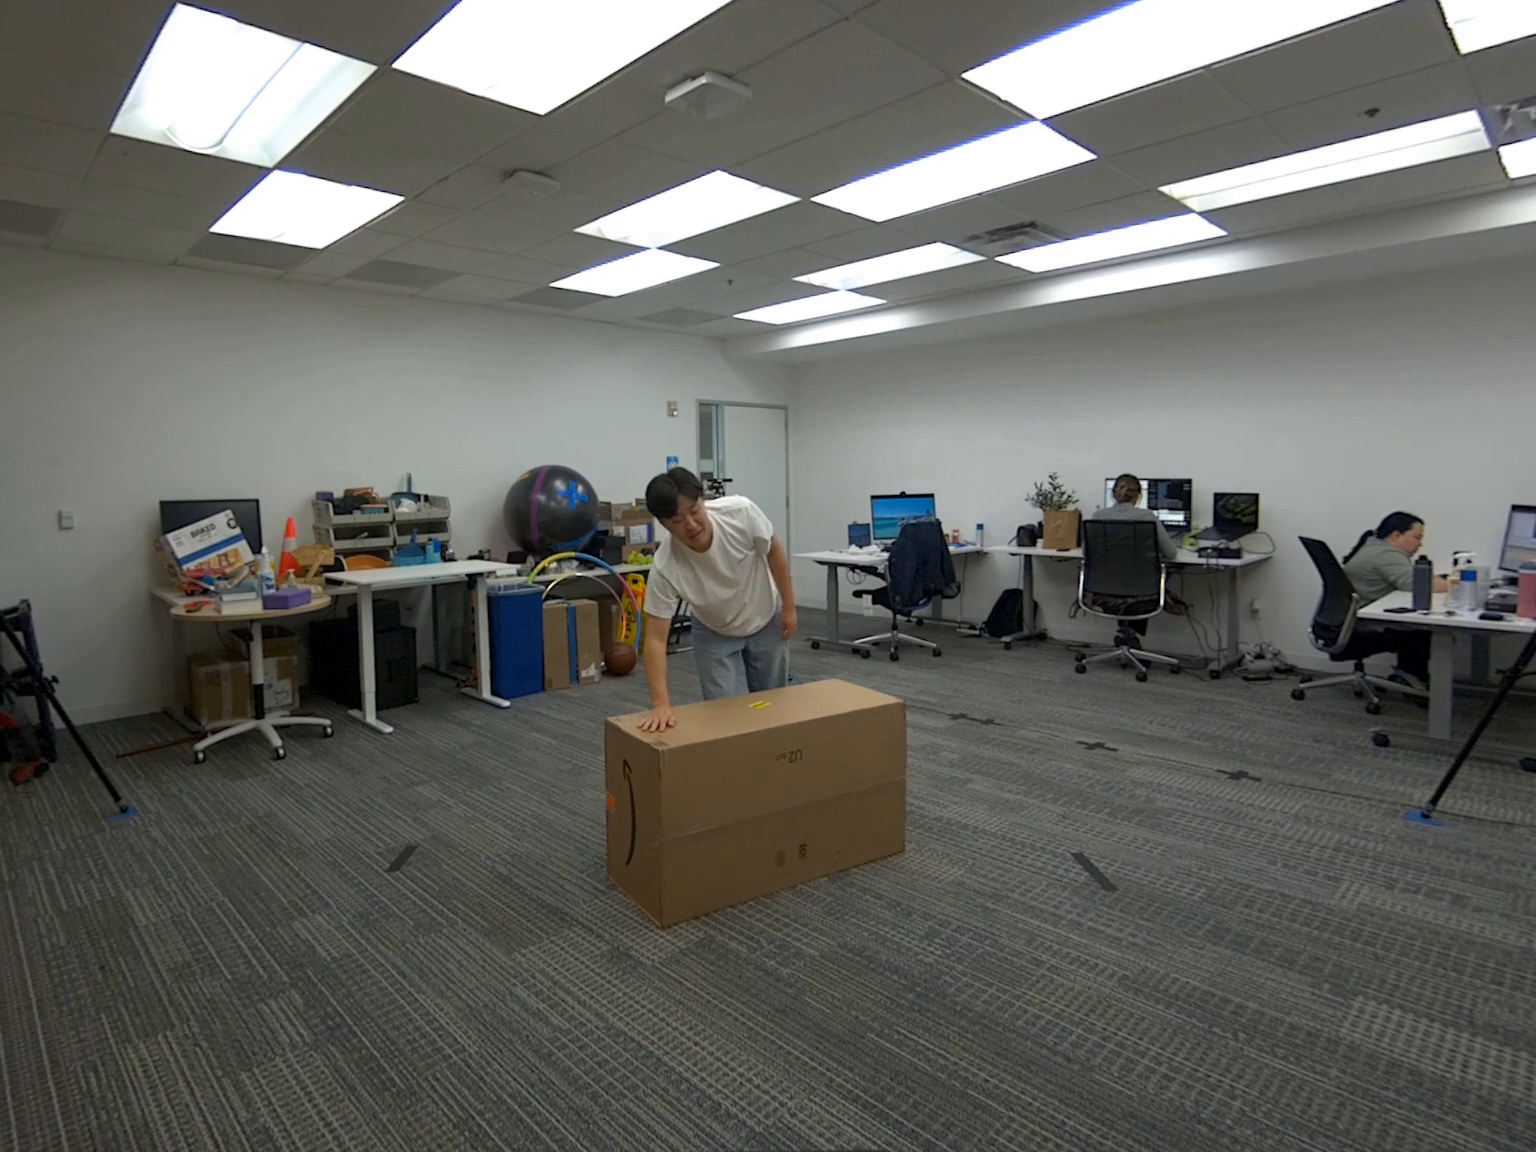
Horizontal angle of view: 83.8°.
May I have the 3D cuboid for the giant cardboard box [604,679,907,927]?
[{"bbox_3d":[-0.030,0.763,3.076,1.001,0.575,0.438,-5,6,-31],"label":"giant cardboard box"}]
